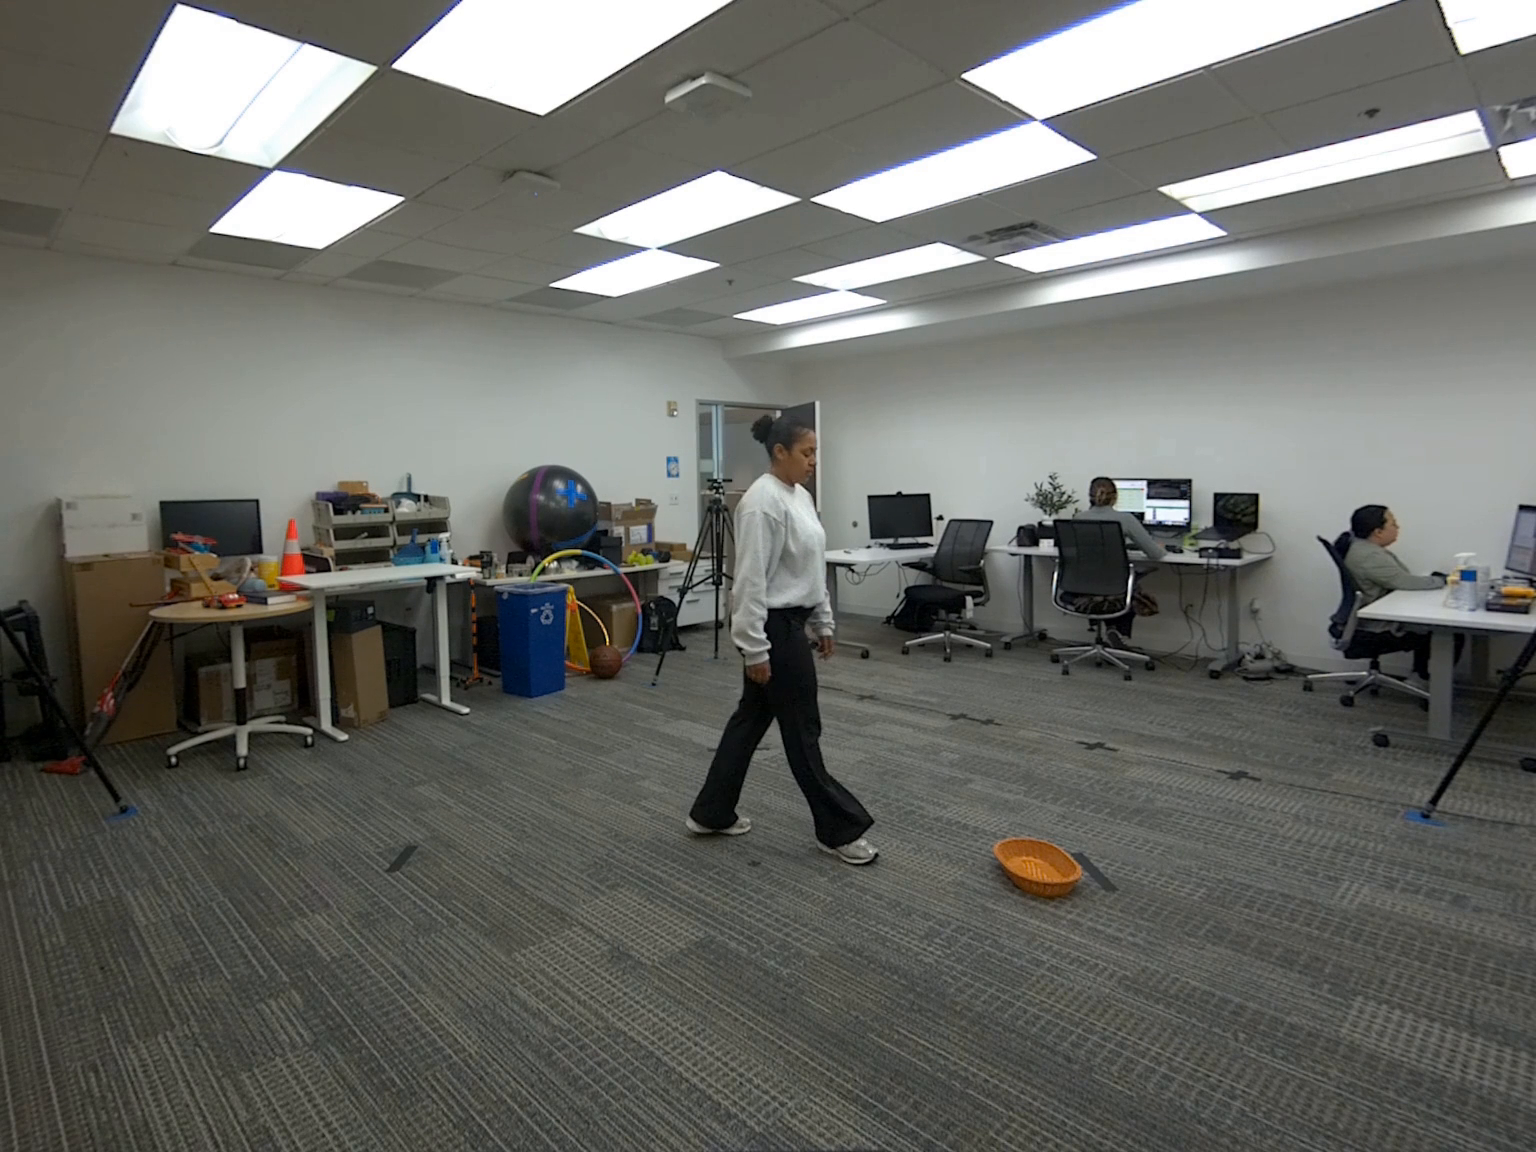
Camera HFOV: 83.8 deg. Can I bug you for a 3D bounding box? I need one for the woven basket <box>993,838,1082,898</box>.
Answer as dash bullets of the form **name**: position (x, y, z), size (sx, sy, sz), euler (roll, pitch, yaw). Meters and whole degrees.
- **woven basket**: position (0.934, 1.011, 2.951), size (0.252, 0.073, 0.353), euler (-2, 6, -4)
